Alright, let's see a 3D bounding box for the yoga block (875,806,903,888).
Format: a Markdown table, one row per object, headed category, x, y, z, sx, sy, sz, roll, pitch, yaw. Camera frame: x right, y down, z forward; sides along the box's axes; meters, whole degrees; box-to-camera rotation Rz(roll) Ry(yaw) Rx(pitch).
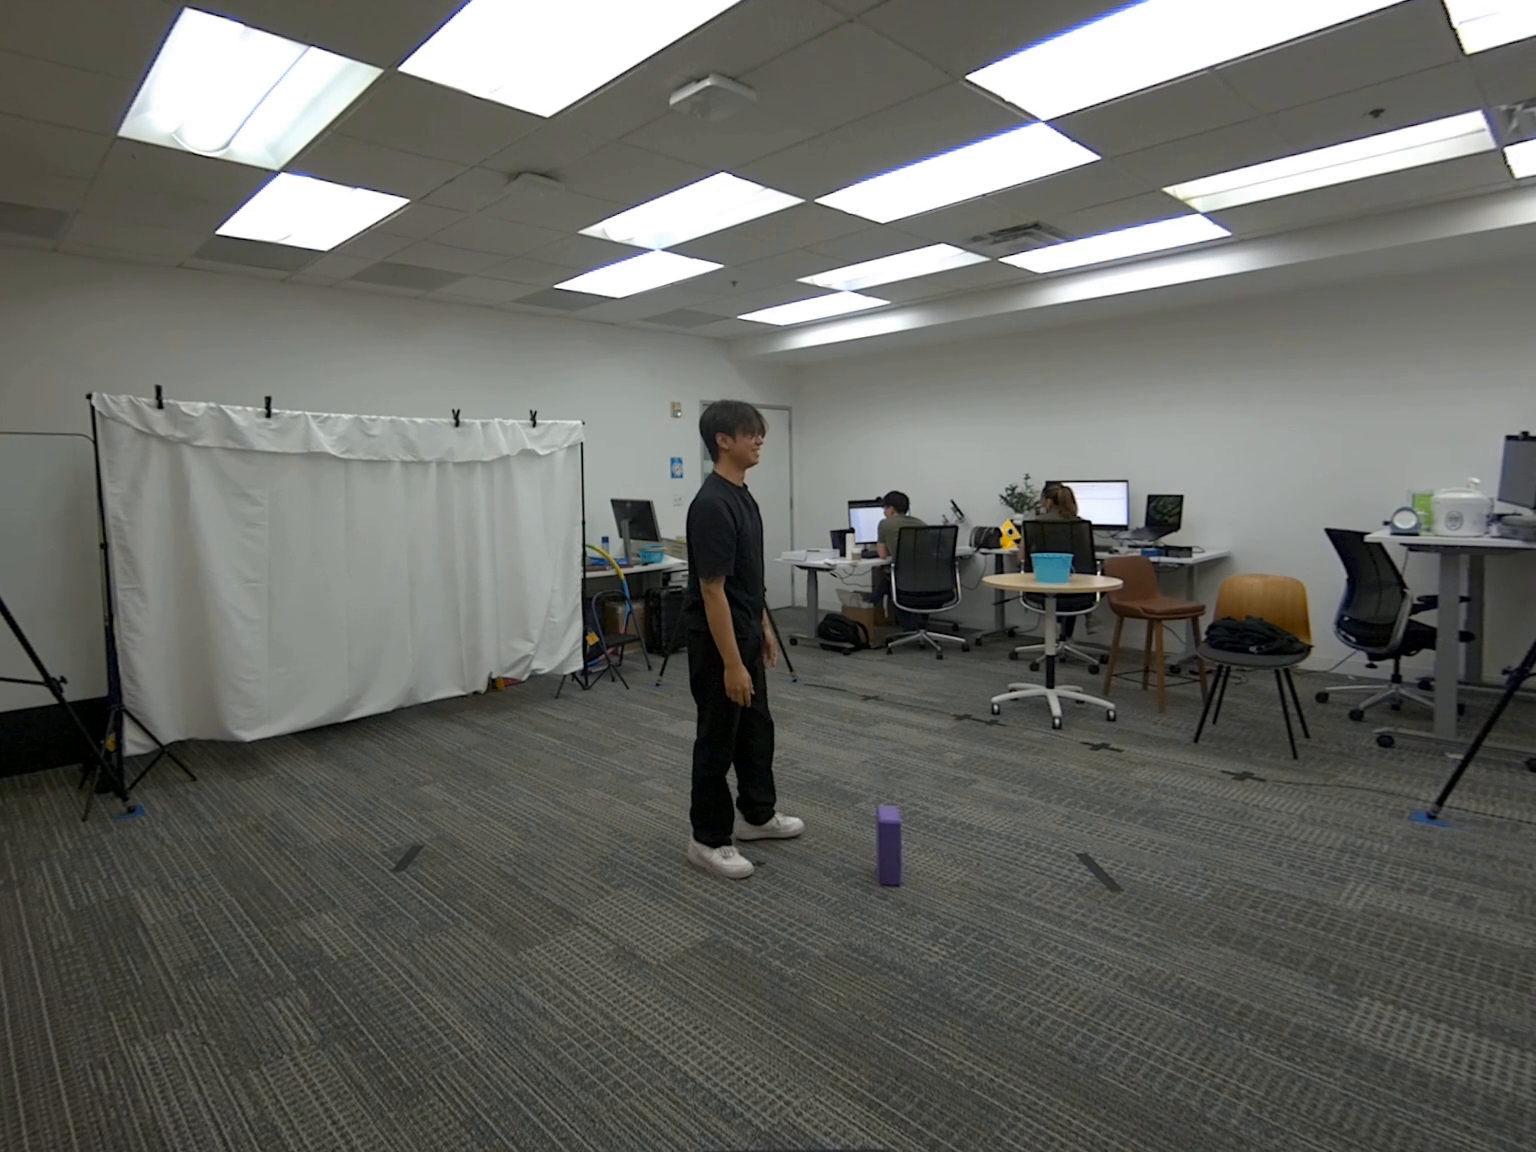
| category | x | y | z | sx | sy | sz | roll | pitch | yaw |
| --- | --- | --- | --- | --- | --- | --- | --- | --- | --- |
| yoga block | 0.423 | 0.942 | 2.975 | 0.077 | 0.229 | 0.149 | 0 | 3 | 3 |
